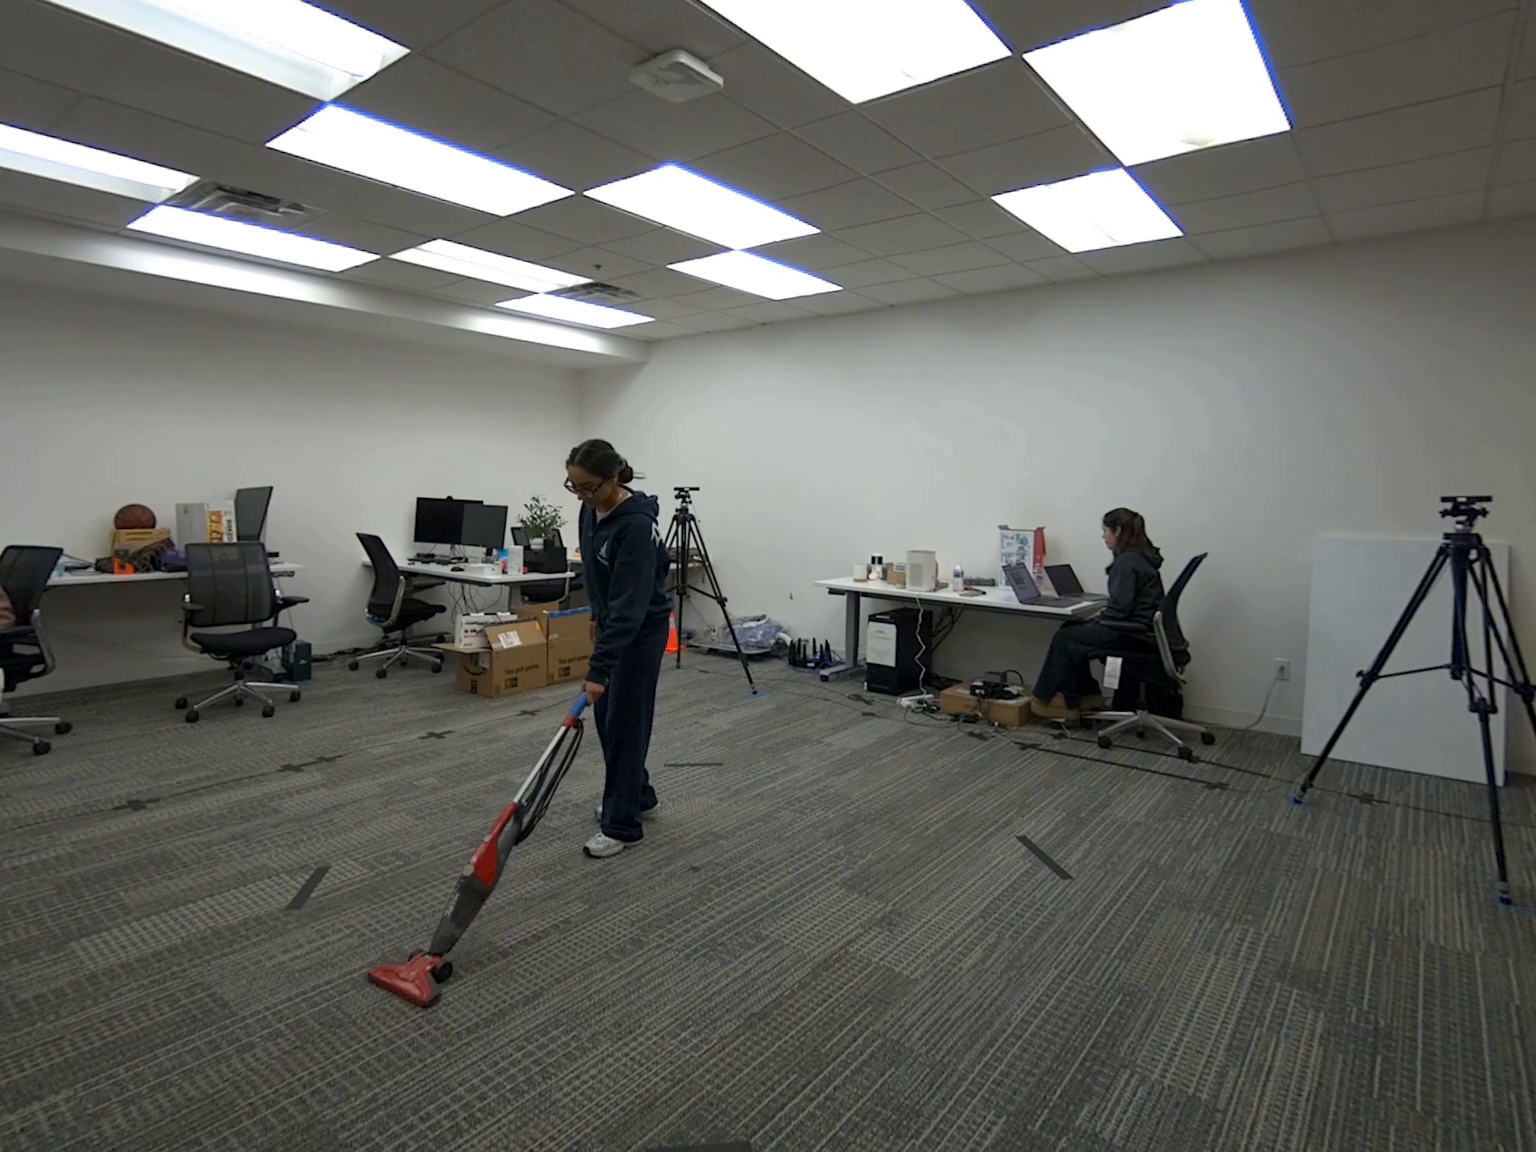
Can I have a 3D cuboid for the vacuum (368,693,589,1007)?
[{"bbox_3d":[-0.785,0.749,2.689,0.260,0.138,1.059,6,49,26],"label":"vacuum"}]
